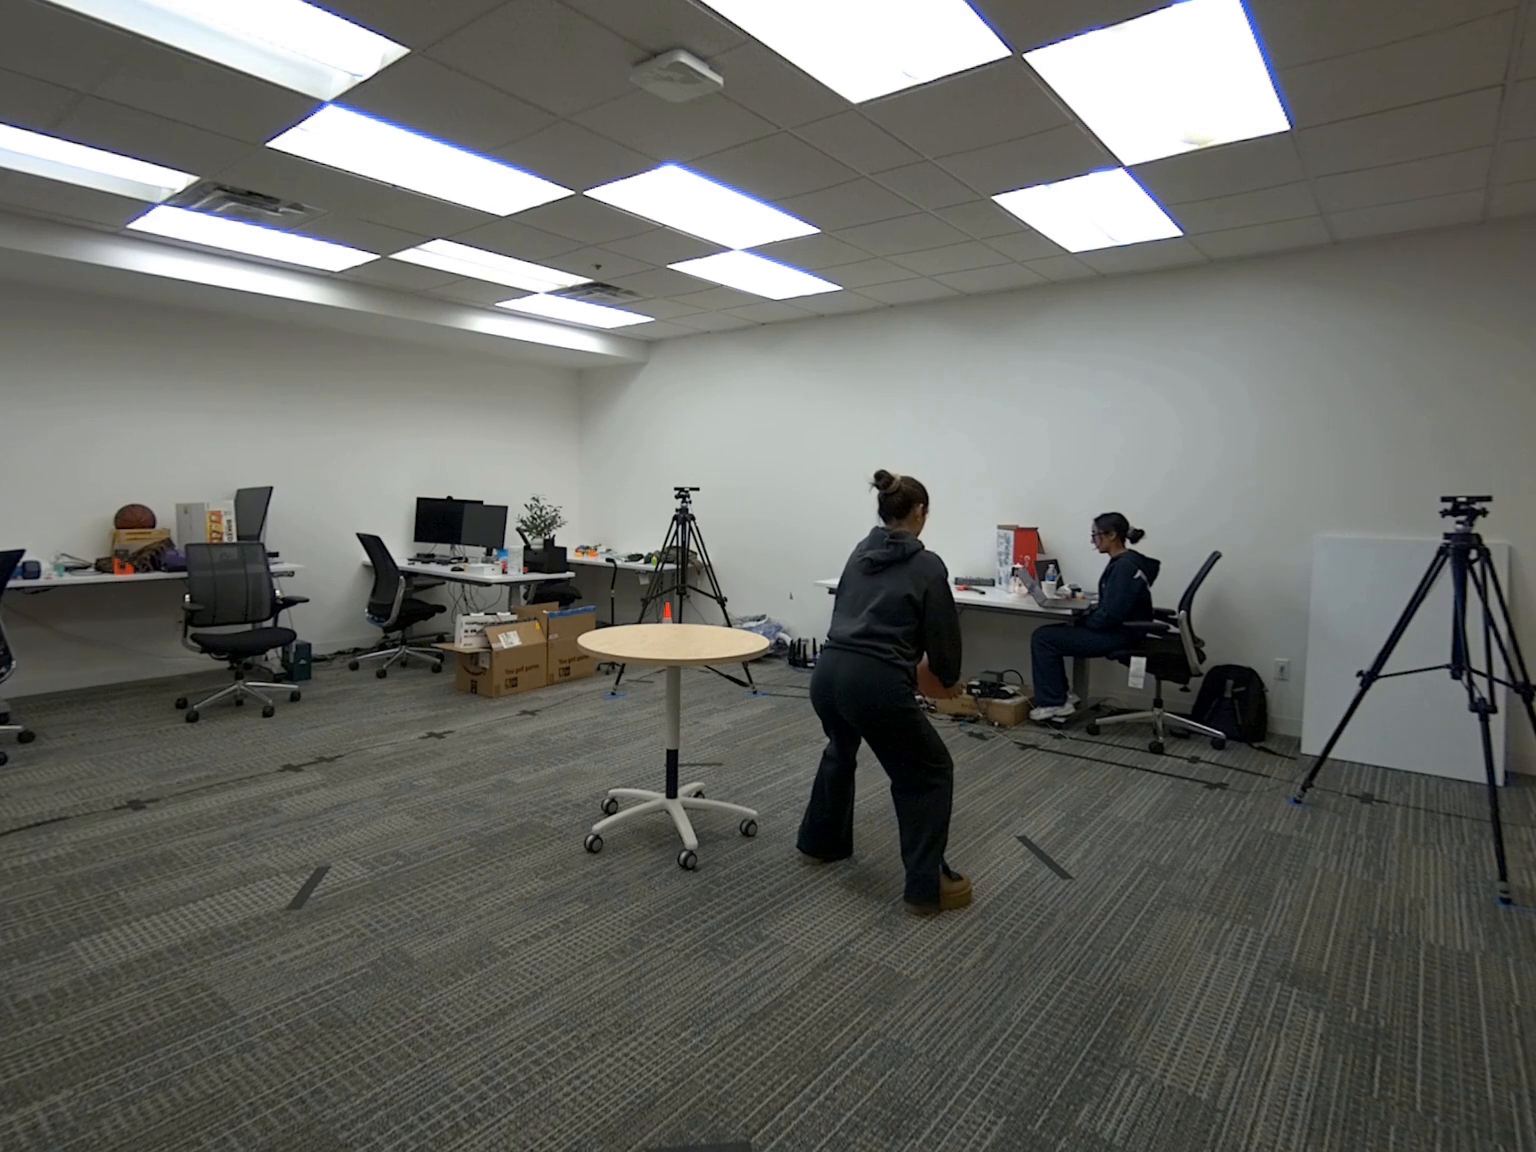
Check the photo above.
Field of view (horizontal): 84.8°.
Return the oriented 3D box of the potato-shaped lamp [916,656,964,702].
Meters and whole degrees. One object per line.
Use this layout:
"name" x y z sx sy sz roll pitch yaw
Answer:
"potato-shaped lamp" 0.651 0.364 3.261 0.167 0.197 0.170 -8 10 -41
